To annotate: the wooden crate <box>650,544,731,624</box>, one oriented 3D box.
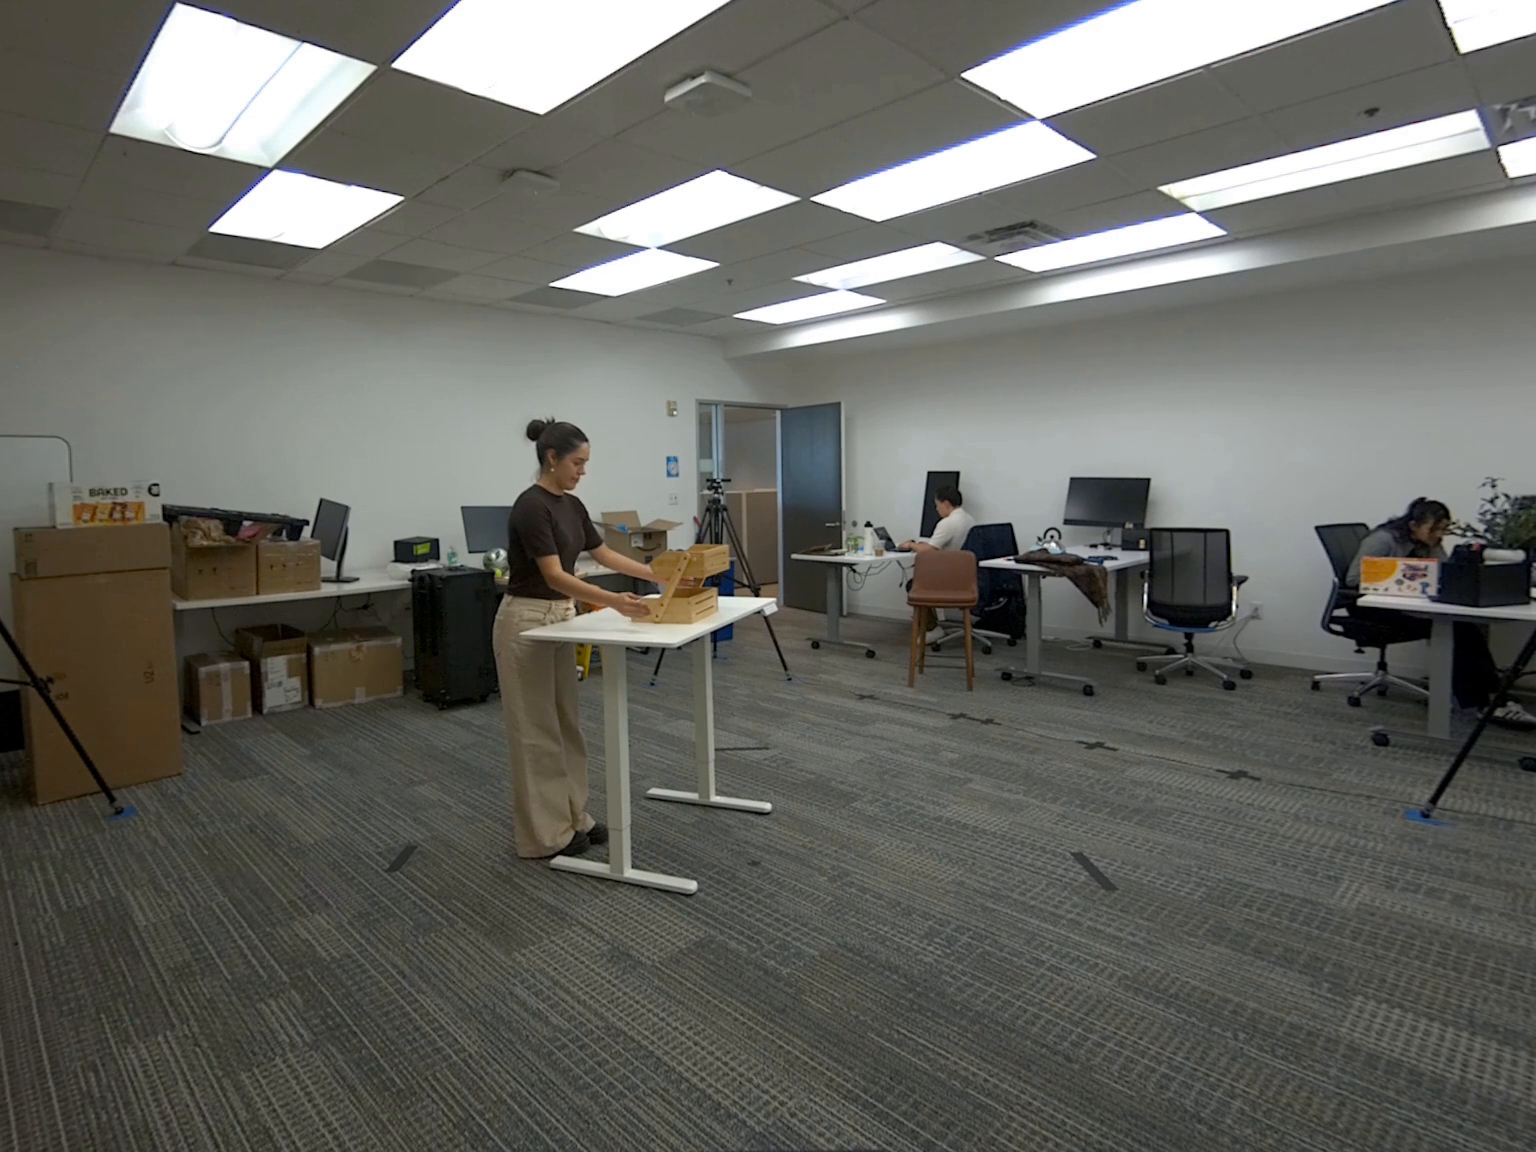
[{"bbox_3d":[-0.341,0.026,3.206,0.307,0.272,0.321,-1,5,16],"label":"wooden crate"}]
